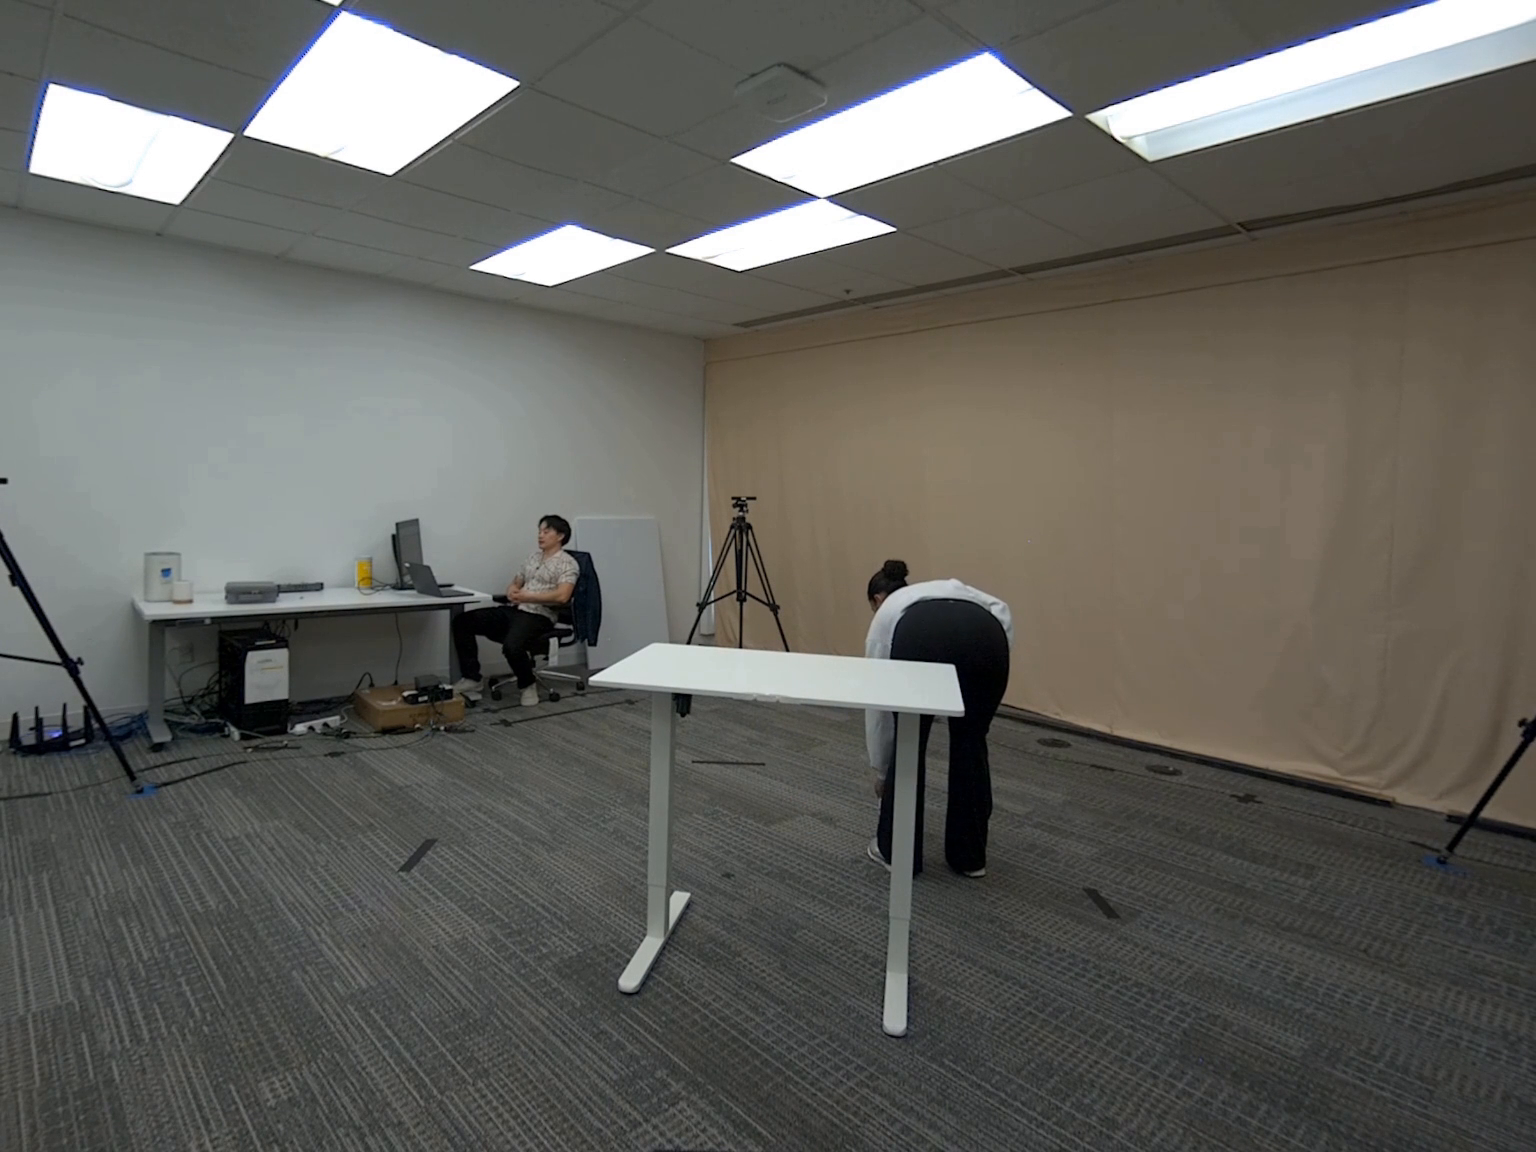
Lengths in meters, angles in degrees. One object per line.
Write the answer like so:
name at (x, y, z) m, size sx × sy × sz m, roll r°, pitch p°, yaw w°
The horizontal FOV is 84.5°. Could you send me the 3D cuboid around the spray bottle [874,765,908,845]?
spray bottle at (0.506, 0.945, 3.506) m, size 0.086 × 0.297 × 0.091 m, roll 2°, pitch 3°, yaw -18°
